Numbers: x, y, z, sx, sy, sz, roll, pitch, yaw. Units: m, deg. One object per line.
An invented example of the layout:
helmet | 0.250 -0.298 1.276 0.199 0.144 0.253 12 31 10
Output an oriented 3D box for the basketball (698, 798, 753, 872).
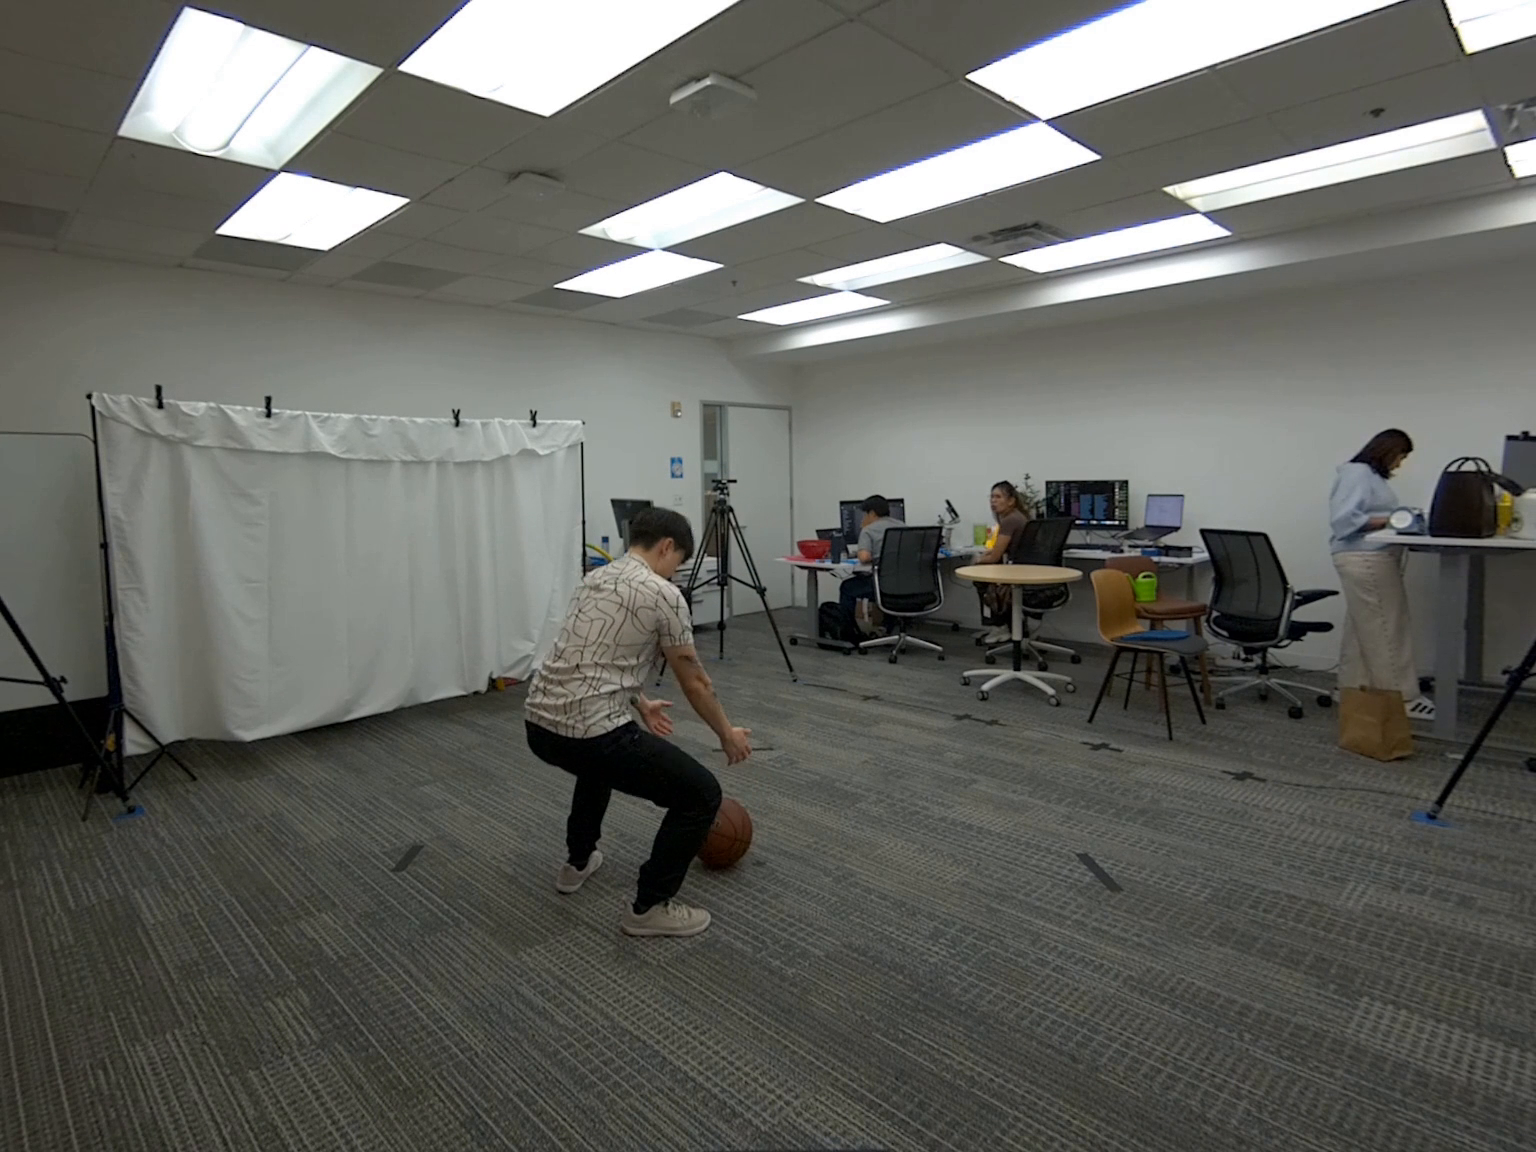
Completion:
basketball | -0.169 0.926 3.108 0.236 0.235 0.237 -1 5 -2
